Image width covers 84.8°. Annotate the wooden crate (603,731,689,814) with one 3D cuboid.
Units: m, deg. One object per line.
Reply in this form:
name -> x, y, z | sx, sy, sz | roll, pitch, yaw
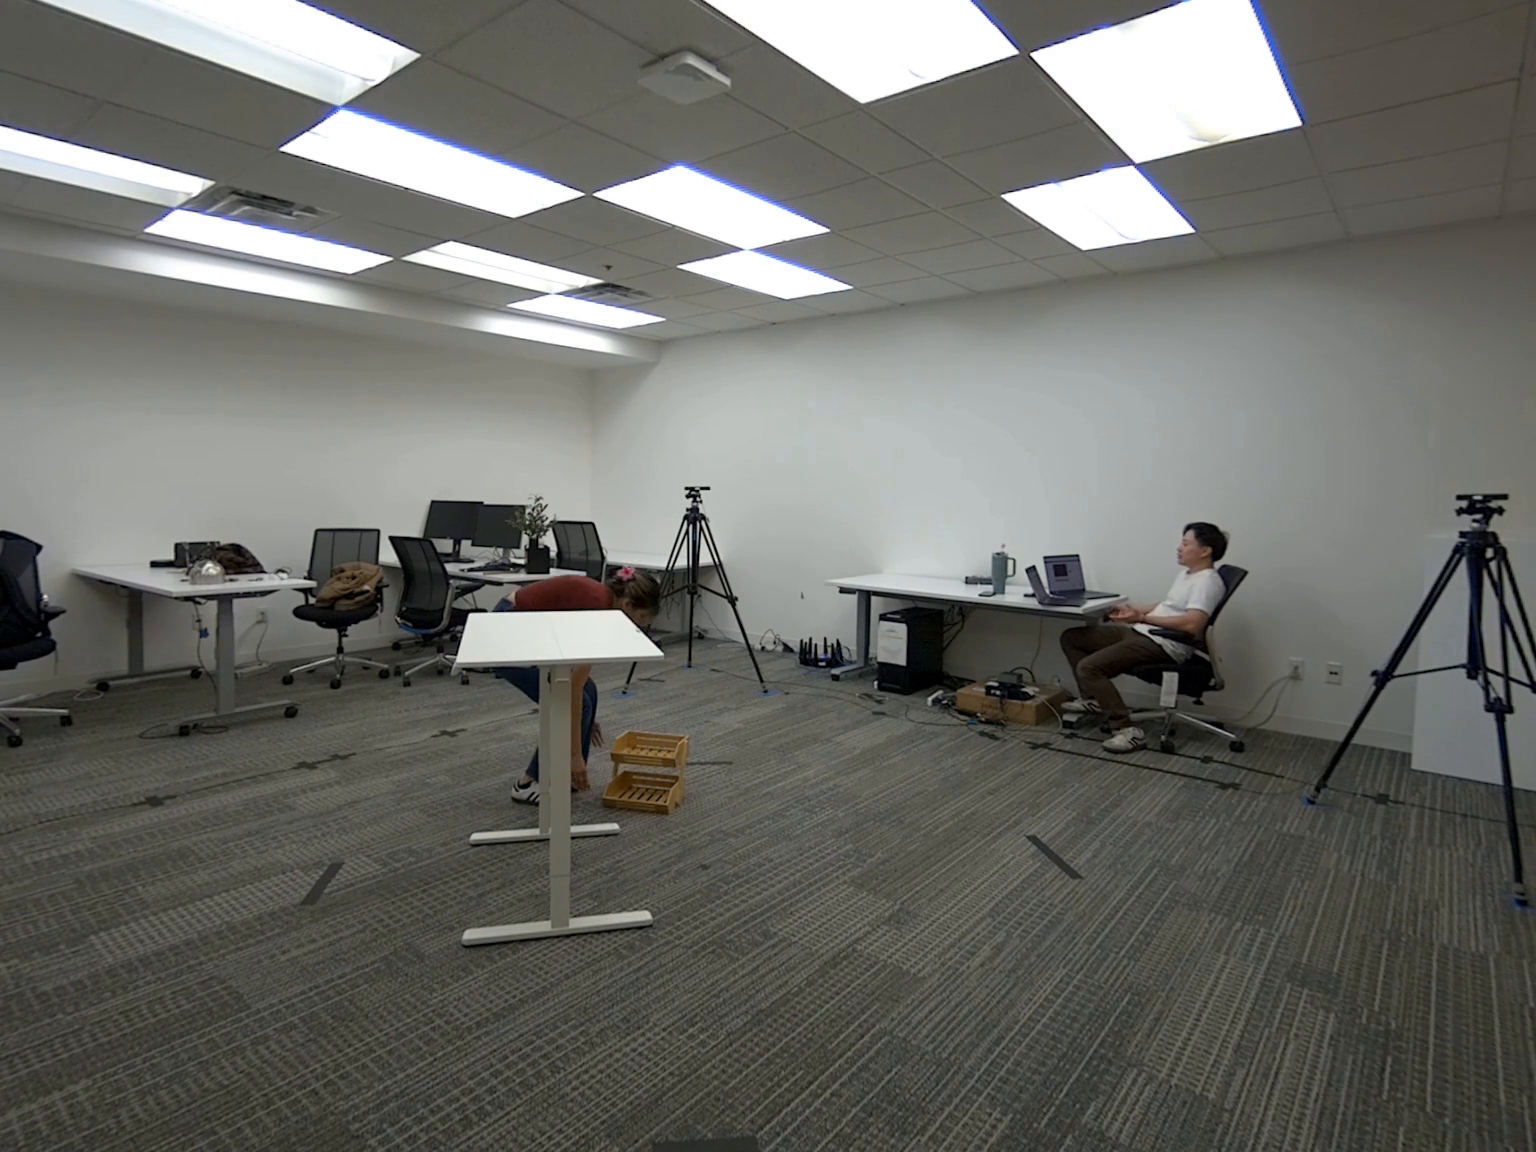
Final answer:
wooden crate -> -0.552, 0.863, 3.781 | 0.329, 0.272, 0.298 | 1, 4, 14
